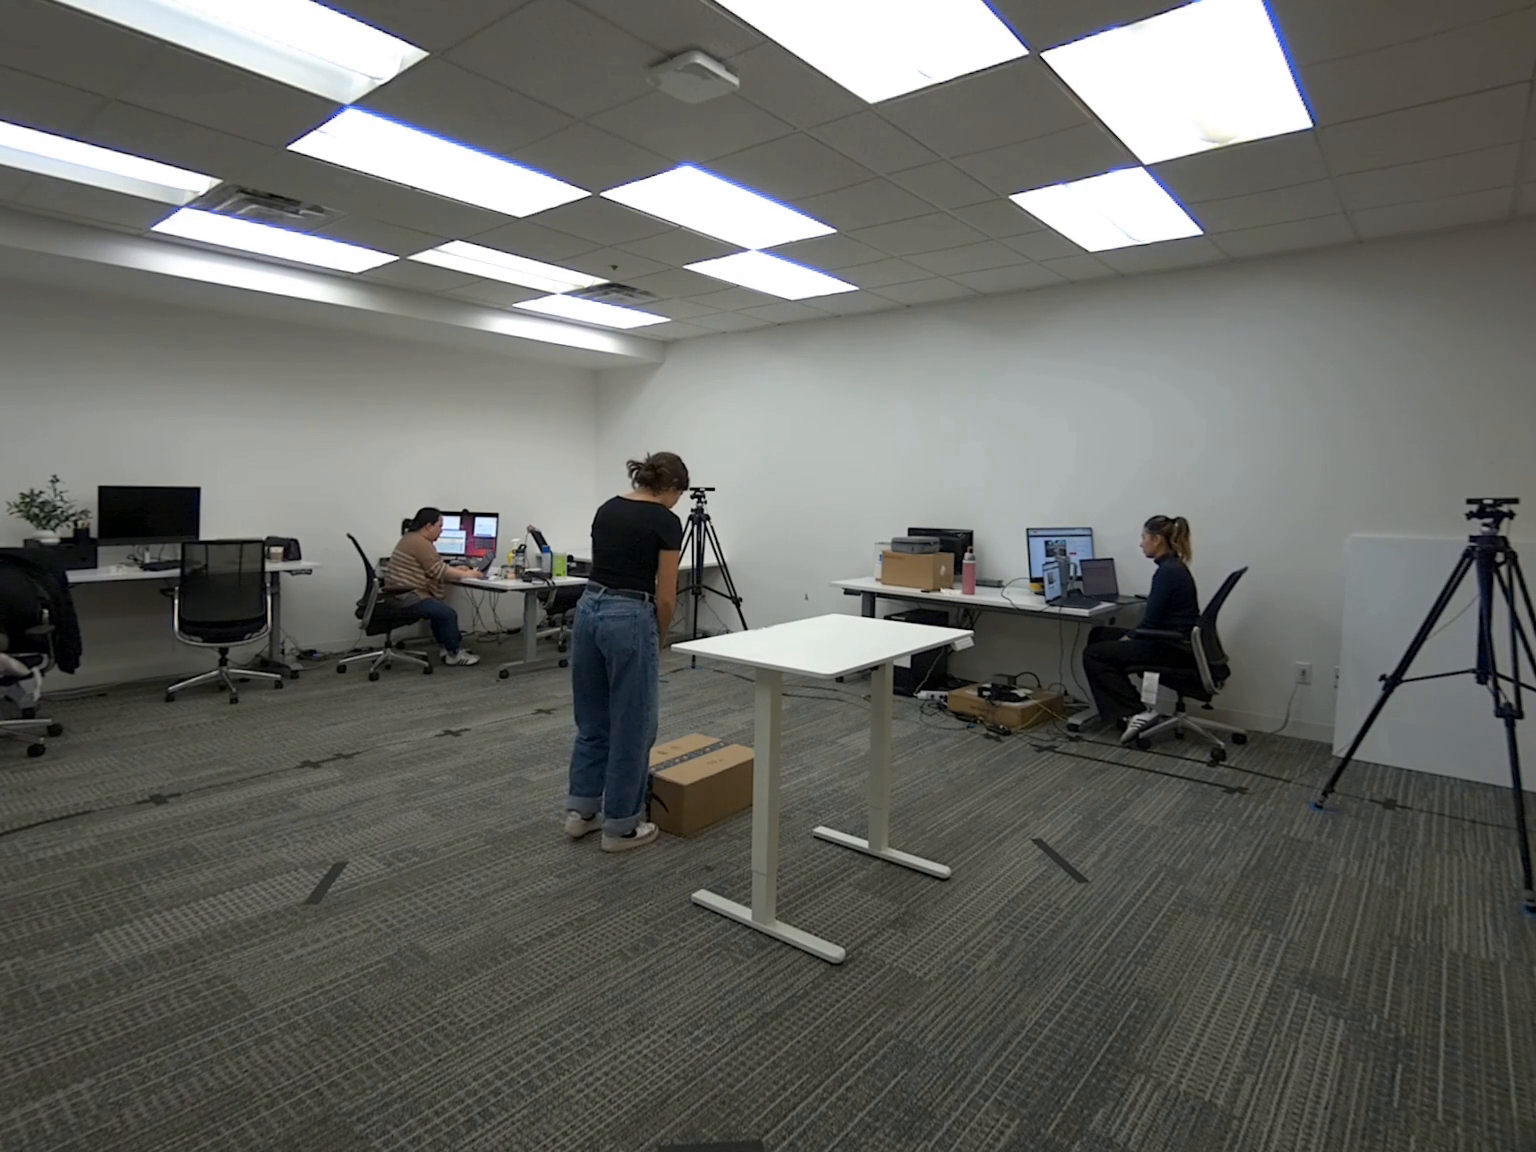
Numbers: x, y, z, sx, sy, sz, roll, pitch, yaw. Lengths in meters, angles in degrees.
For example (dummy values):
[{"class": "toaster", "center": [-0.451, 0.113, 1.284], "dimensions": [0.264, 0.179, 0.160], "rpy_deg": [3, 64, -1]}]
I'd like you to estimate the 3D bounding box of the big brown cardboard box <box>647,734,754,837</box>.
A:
[{"class": "big brown cardboard box", "center": [-0.349, 0.892, 3.720], "dimensions": [0.431, 0.232, 0.572], "rpy_deg": [6, 7, 36]}]
